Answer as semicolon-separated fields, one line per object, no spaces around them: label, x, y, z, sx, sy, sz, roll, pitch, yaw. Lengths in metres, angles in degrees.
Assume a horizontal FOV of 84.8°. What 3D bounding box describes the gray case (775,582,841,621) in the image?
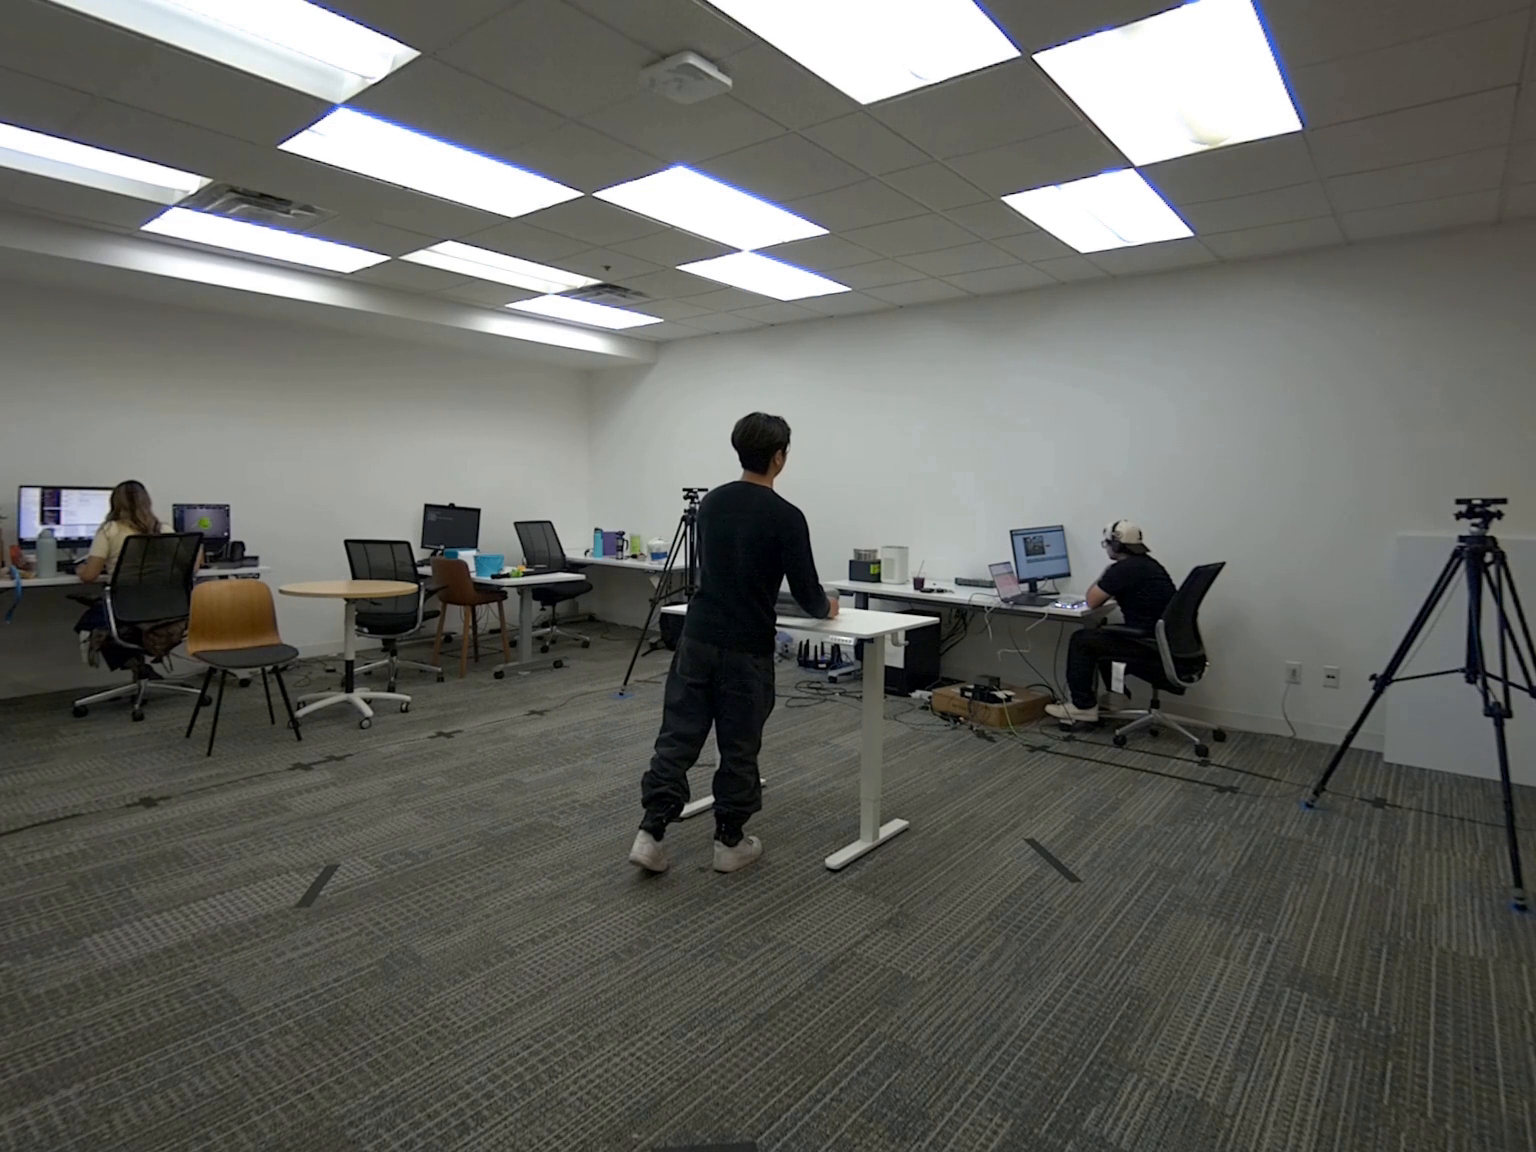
gray case;0.123;0.102;3.525;0.265;0.104;0.253;6;7;33
